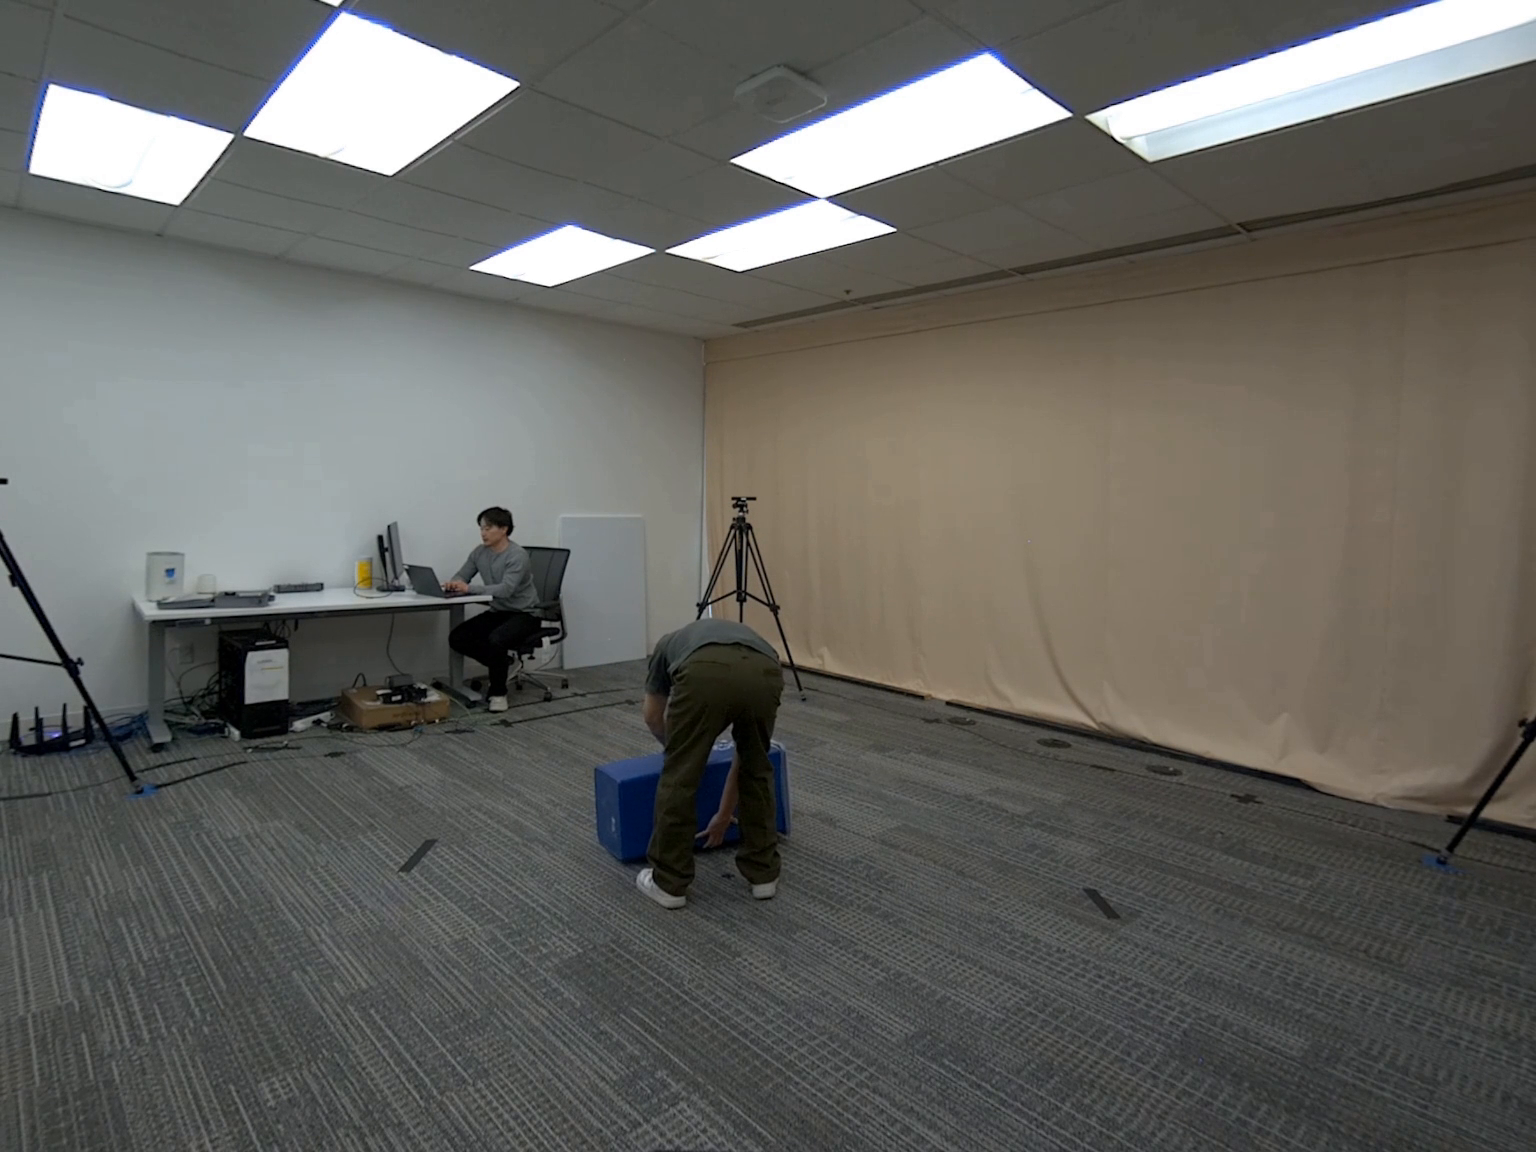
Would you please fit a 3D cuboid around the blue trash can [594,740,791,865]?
[{"bbox_3d":[-0.319,0.908,3.428,0.701,0.374,0.385,-5,2,-25],"label":"blue trash can"}]
